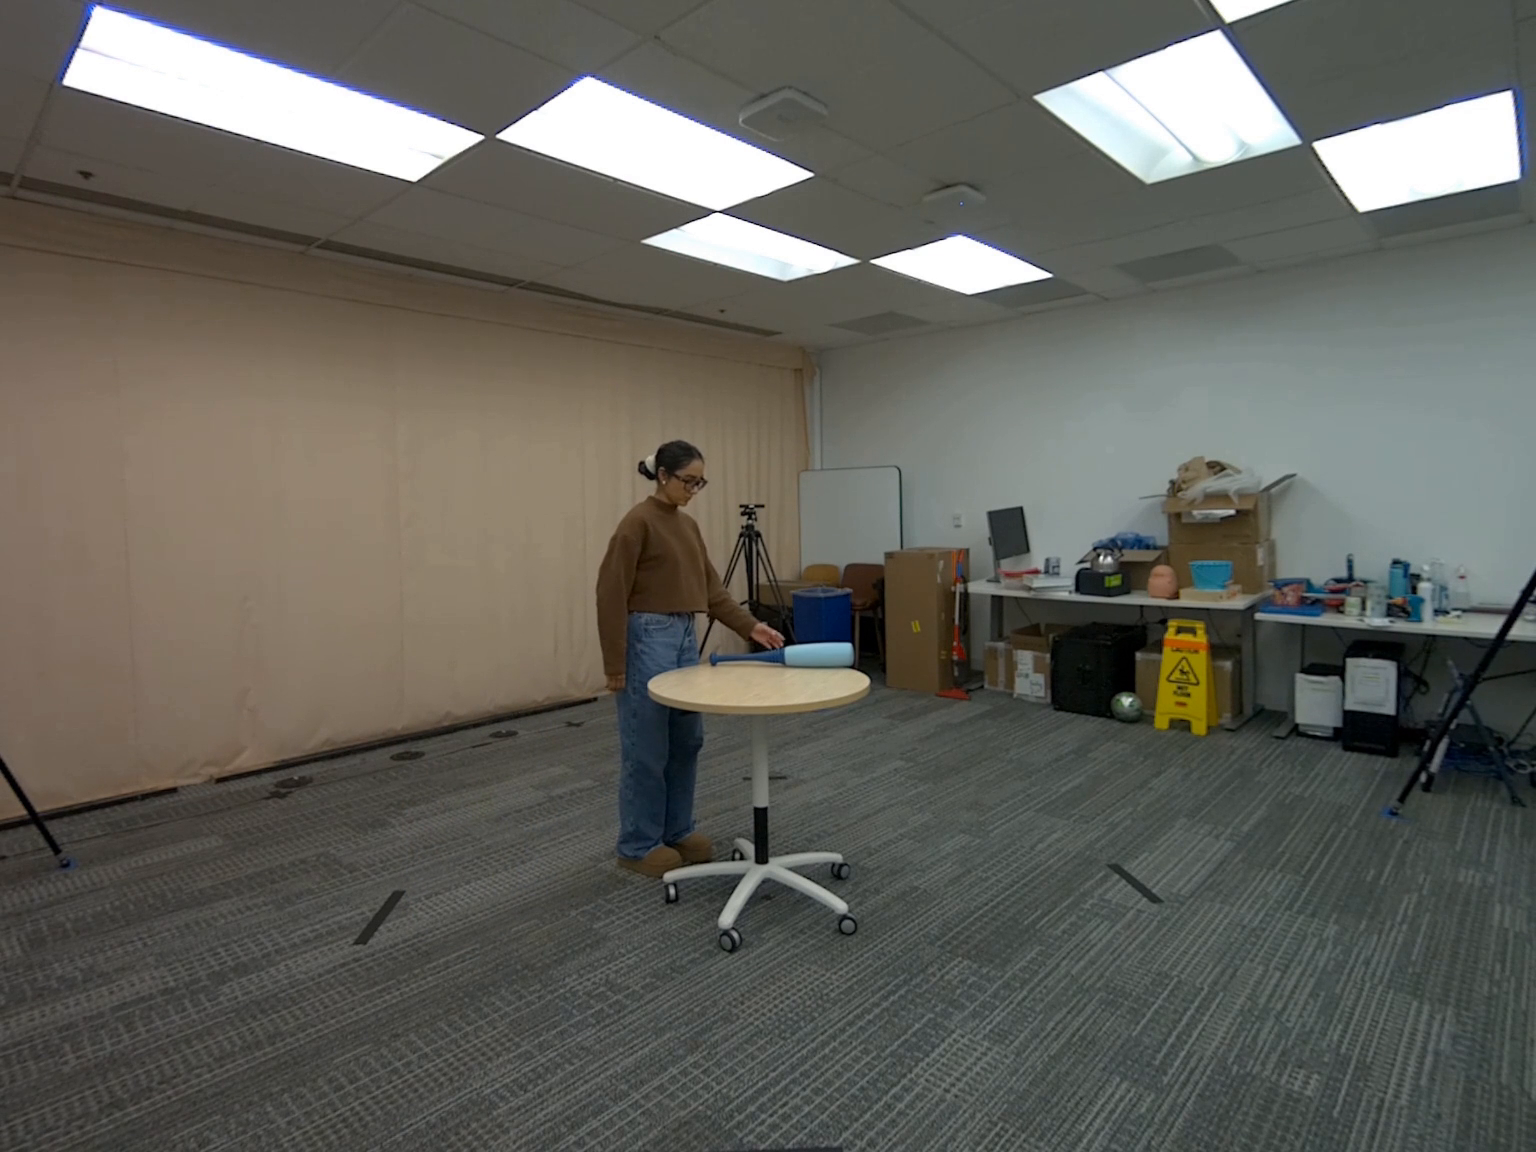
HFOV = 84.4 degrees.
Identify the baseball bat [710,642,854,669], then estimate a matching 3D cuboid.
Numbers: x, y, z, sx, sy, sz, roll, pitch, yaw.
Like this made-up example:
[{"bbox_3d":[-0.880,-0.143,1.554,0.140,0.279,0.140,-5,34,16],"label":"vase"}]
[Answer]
[{"bbox_3d":[0.049,0.311,3.166,0.551,0.089,0.088,-4,3,14],"label":"baseball bat"}]
